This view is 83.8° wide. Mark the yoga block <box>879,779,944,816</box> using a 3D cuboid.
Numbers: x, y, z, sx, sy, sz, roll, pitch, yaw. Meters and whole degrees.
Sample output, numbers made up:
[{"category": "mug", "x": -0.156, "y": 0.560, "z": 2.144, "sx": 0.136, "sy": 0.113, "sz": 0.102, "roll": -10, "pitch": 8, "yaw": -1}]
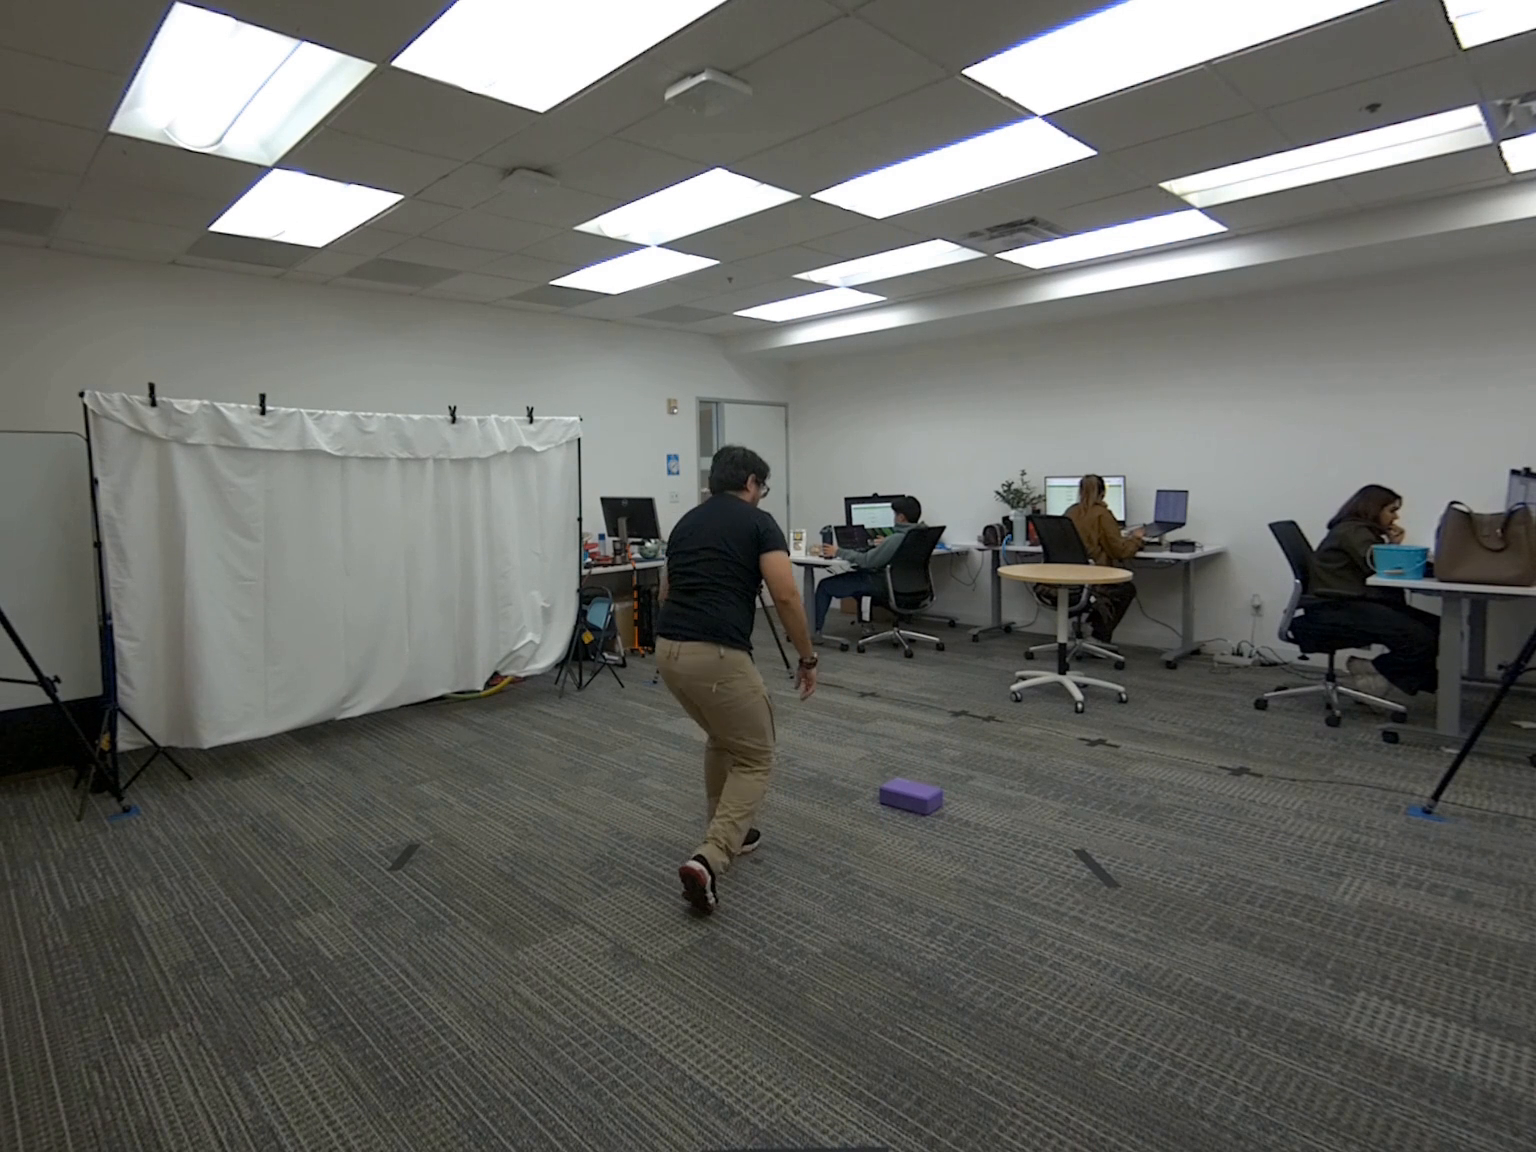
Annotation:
[{"category": "yoga block", "x": 0.606, "y": 0.928, "z": 3.608, "sx": 0.236, "sy": 0.076, "sz": 0.145, "roll": 4, "pitch": 7, "yaw": 41}]
